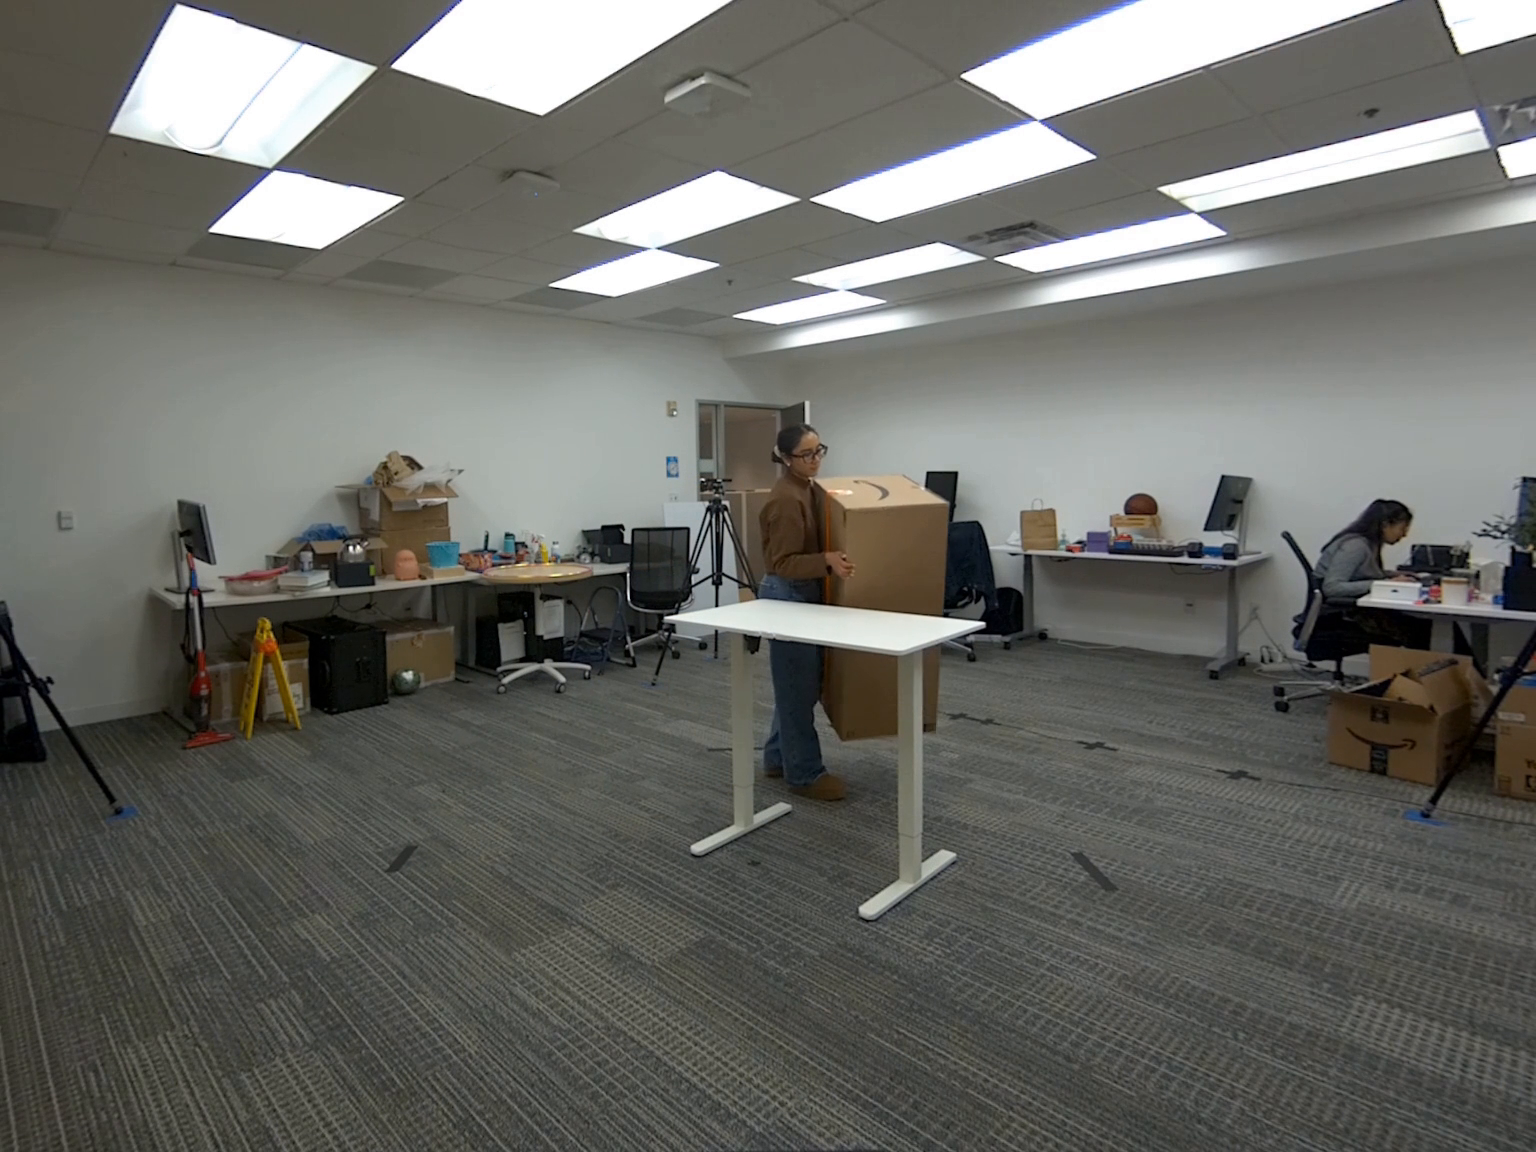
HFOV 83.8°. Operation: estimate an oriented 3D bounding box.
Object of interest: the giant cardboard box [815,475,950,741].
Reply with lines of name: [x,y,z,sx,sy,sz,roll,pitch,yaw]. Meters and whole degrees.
giant cardboard box: [0.465,0.121,3.772,0.423,1.011,0.590,-3,16,-9]
